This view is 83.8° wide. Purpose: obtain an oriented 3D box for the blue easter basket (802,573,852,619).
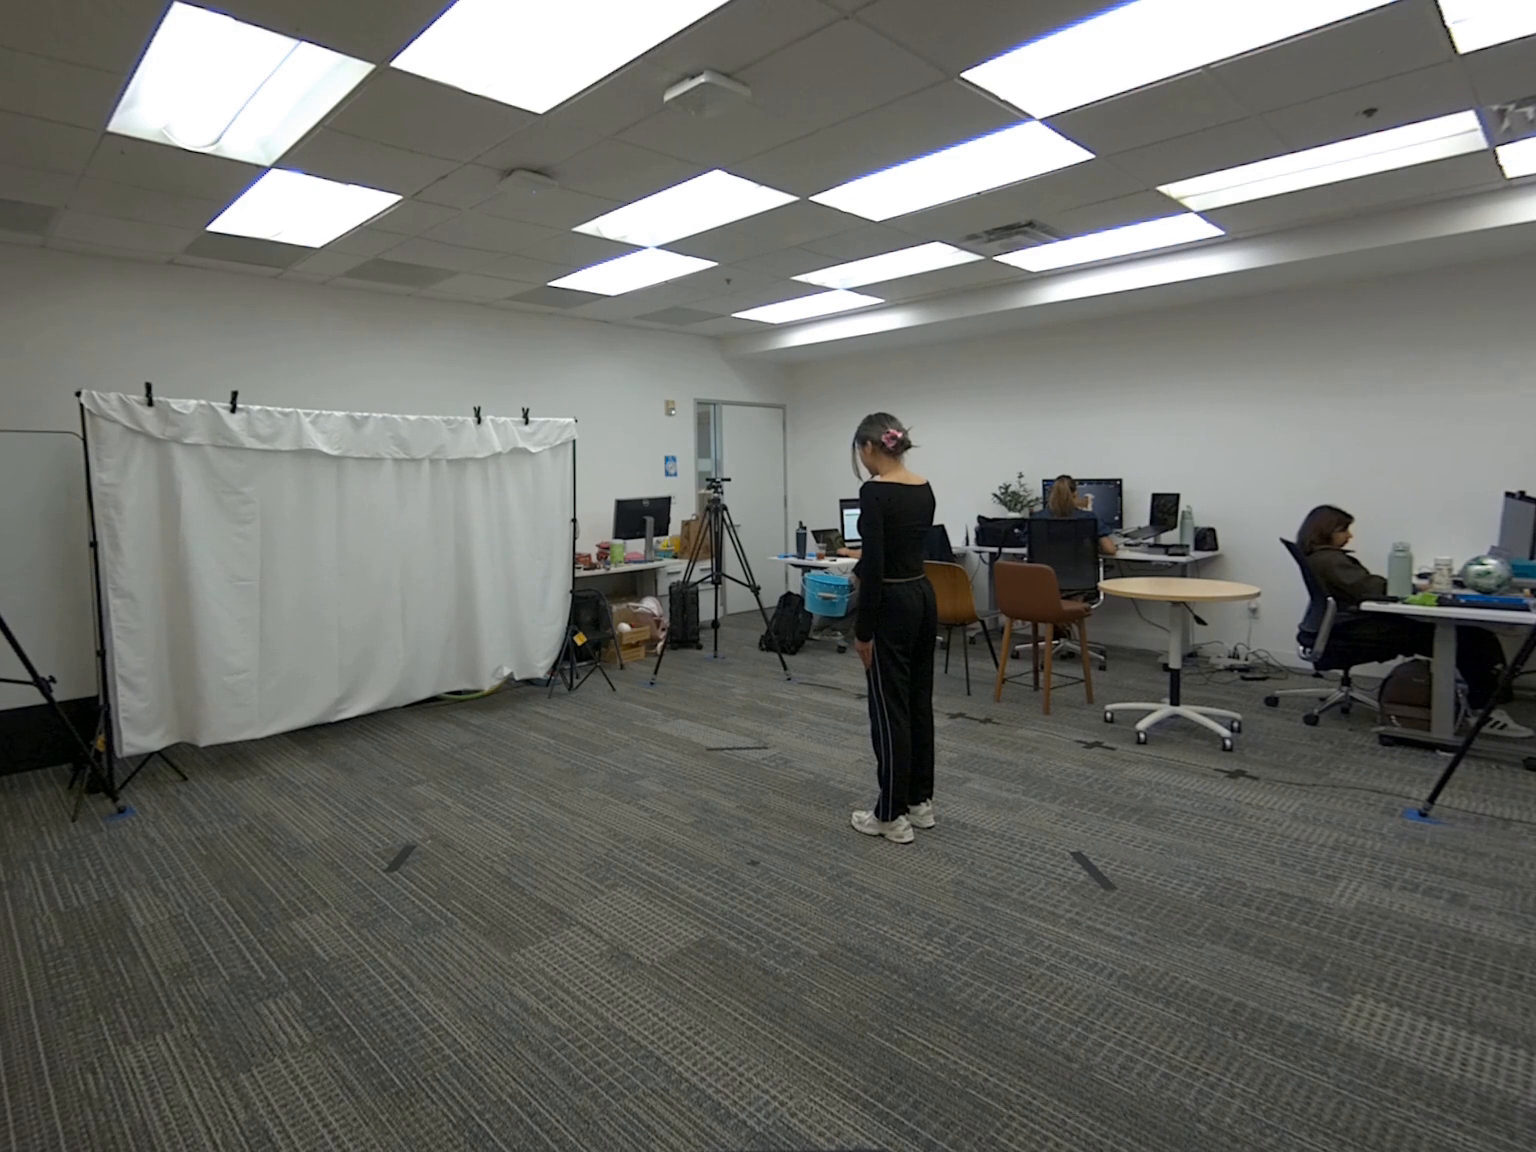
[{"bbox_3d":[0.275,0.094,3.869,0.243,0.155,0.245,6,9,-2],"label":"blue easter basket"}]
